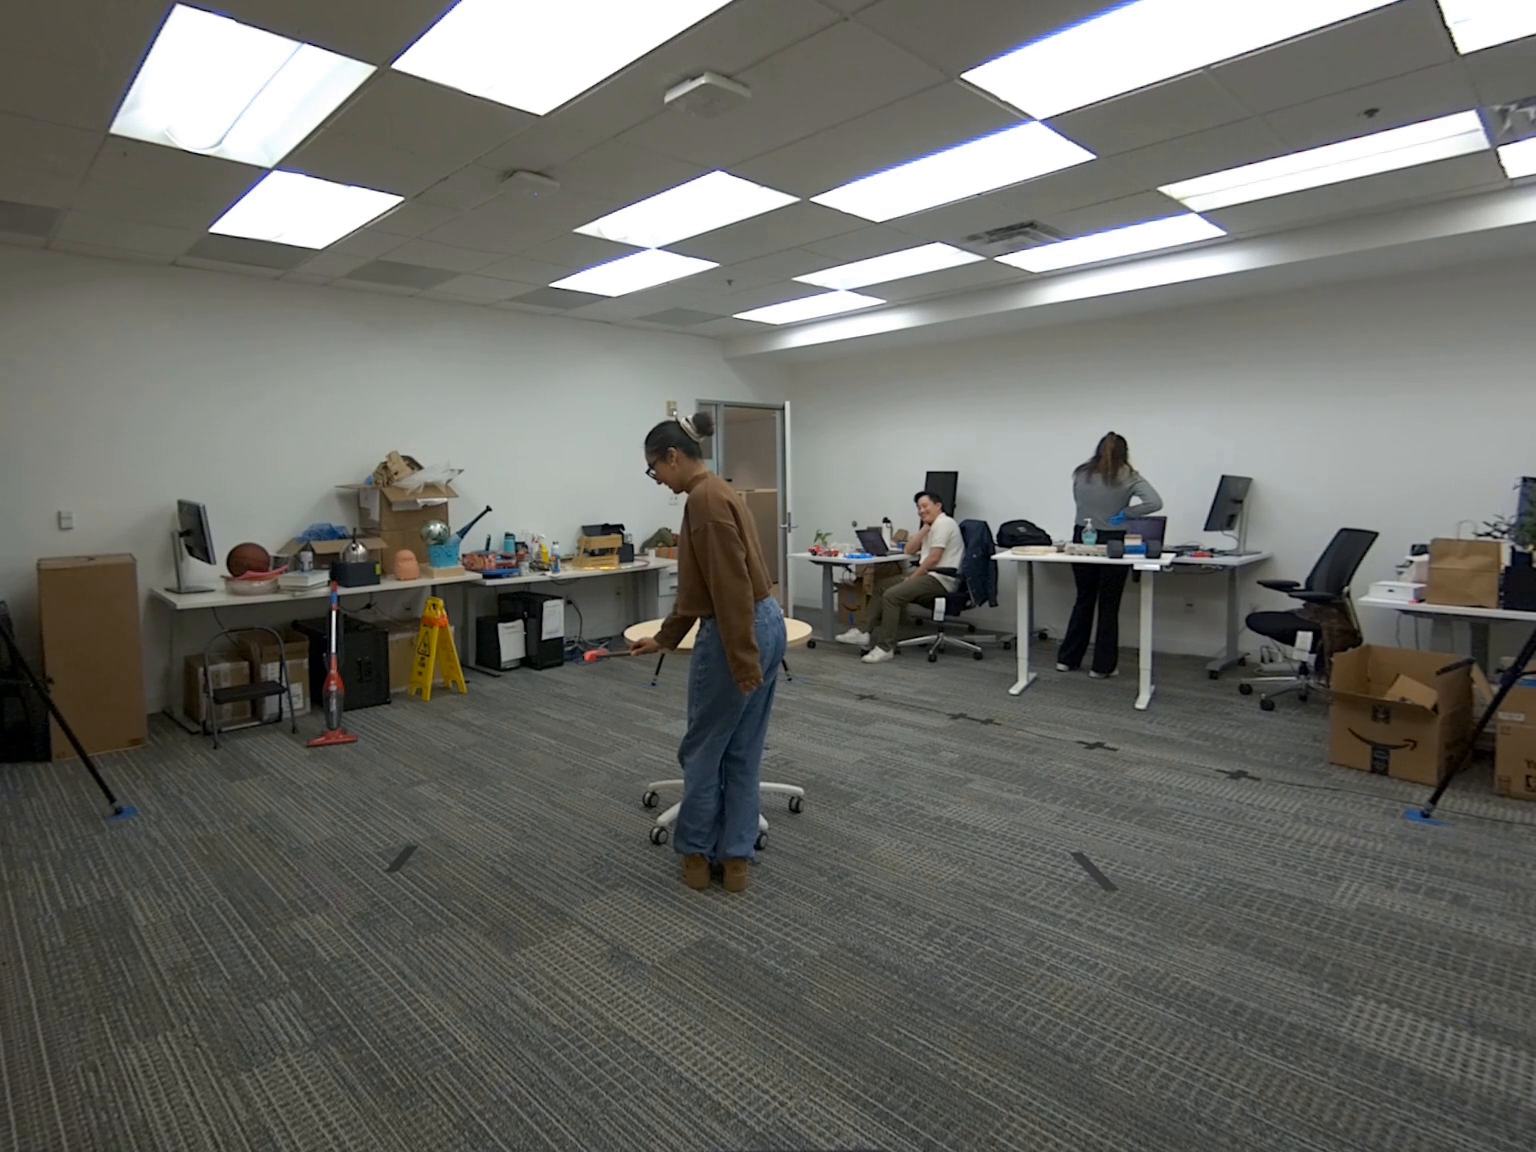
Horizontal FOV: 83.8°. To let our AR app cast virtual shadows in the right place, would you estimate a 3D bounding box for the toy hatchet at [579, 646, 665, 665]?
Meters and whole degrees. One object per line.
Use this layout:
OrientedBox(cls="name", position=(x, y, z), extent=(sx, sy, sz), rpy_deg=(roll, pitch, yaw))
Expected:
OrientedBox(cls="toy hatchet", position=(-0.525, 0.283, 3.077), extent=(0.275, 0.029, 0.130), rpy_deg=(-2, 9, 19))
